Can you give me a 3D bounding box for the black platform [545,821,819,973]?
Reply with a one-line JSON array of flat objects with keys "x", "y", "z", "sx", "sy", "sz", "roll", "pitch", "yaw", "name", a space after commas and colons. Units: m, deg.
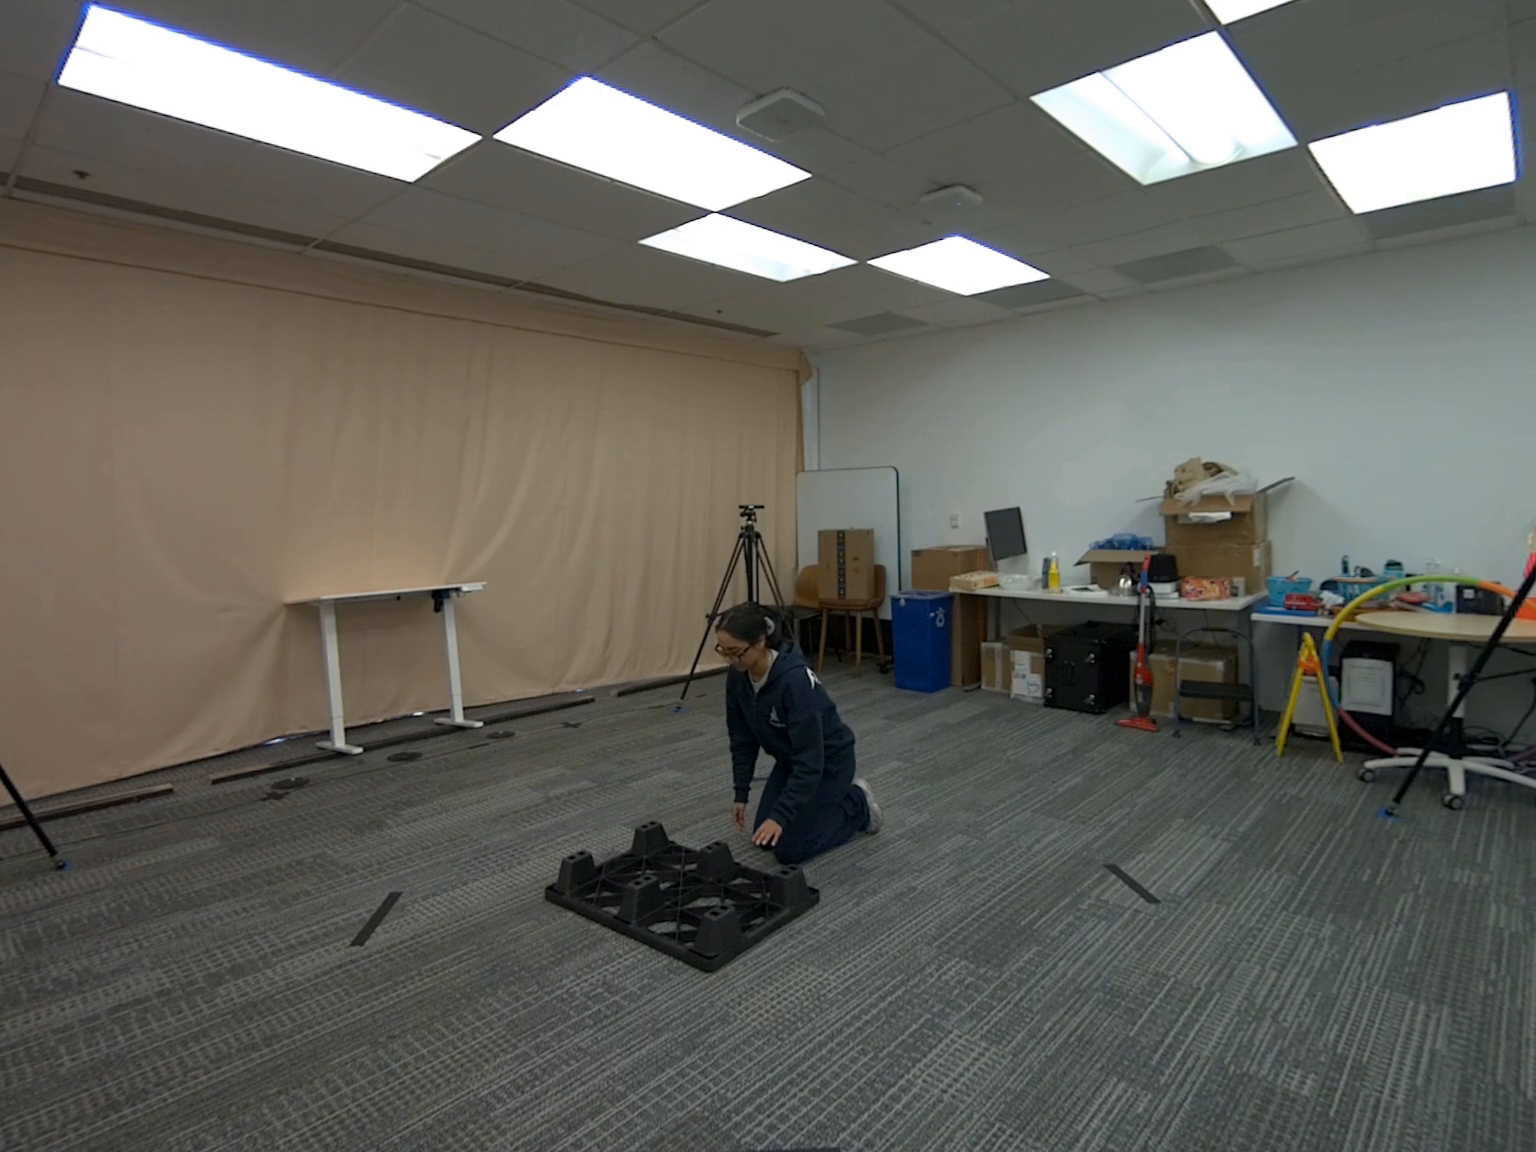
[{"x": -0.307, "y": 1.084, "z": 2.979, "sx": 0.832, "sy": 0.143, "sz": 0.587, "roll": 3, "pitch": 6, "yaw": 39, "name": "black platform"}]
